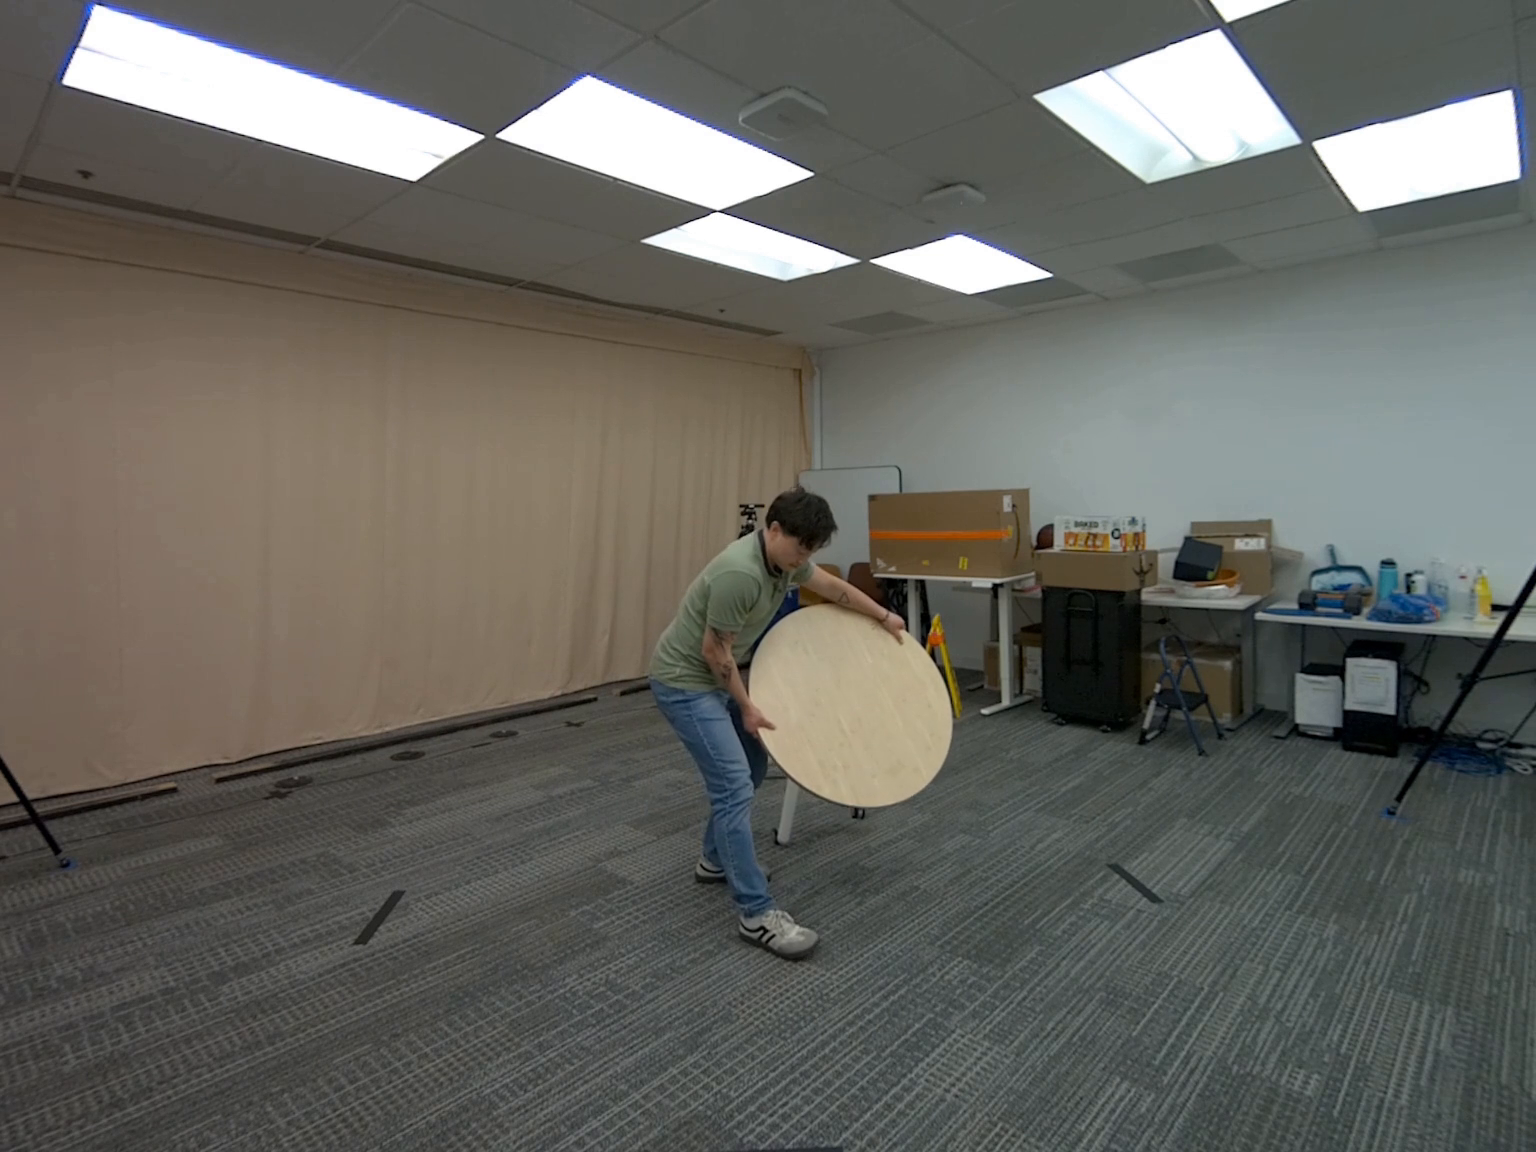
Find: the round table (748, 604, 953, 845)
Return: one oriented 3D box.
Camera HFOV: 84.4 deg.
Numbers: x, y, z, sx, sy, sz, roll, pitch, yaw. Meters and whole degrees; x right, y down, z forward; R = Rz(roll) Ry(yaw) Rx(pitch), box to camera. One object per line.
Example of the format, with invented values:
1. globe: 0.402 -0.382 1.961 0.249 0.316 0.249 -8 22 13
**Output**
1. round table: 0.203 0.631 3.336 0.751 0.780 0.791 -2 -30 -18
